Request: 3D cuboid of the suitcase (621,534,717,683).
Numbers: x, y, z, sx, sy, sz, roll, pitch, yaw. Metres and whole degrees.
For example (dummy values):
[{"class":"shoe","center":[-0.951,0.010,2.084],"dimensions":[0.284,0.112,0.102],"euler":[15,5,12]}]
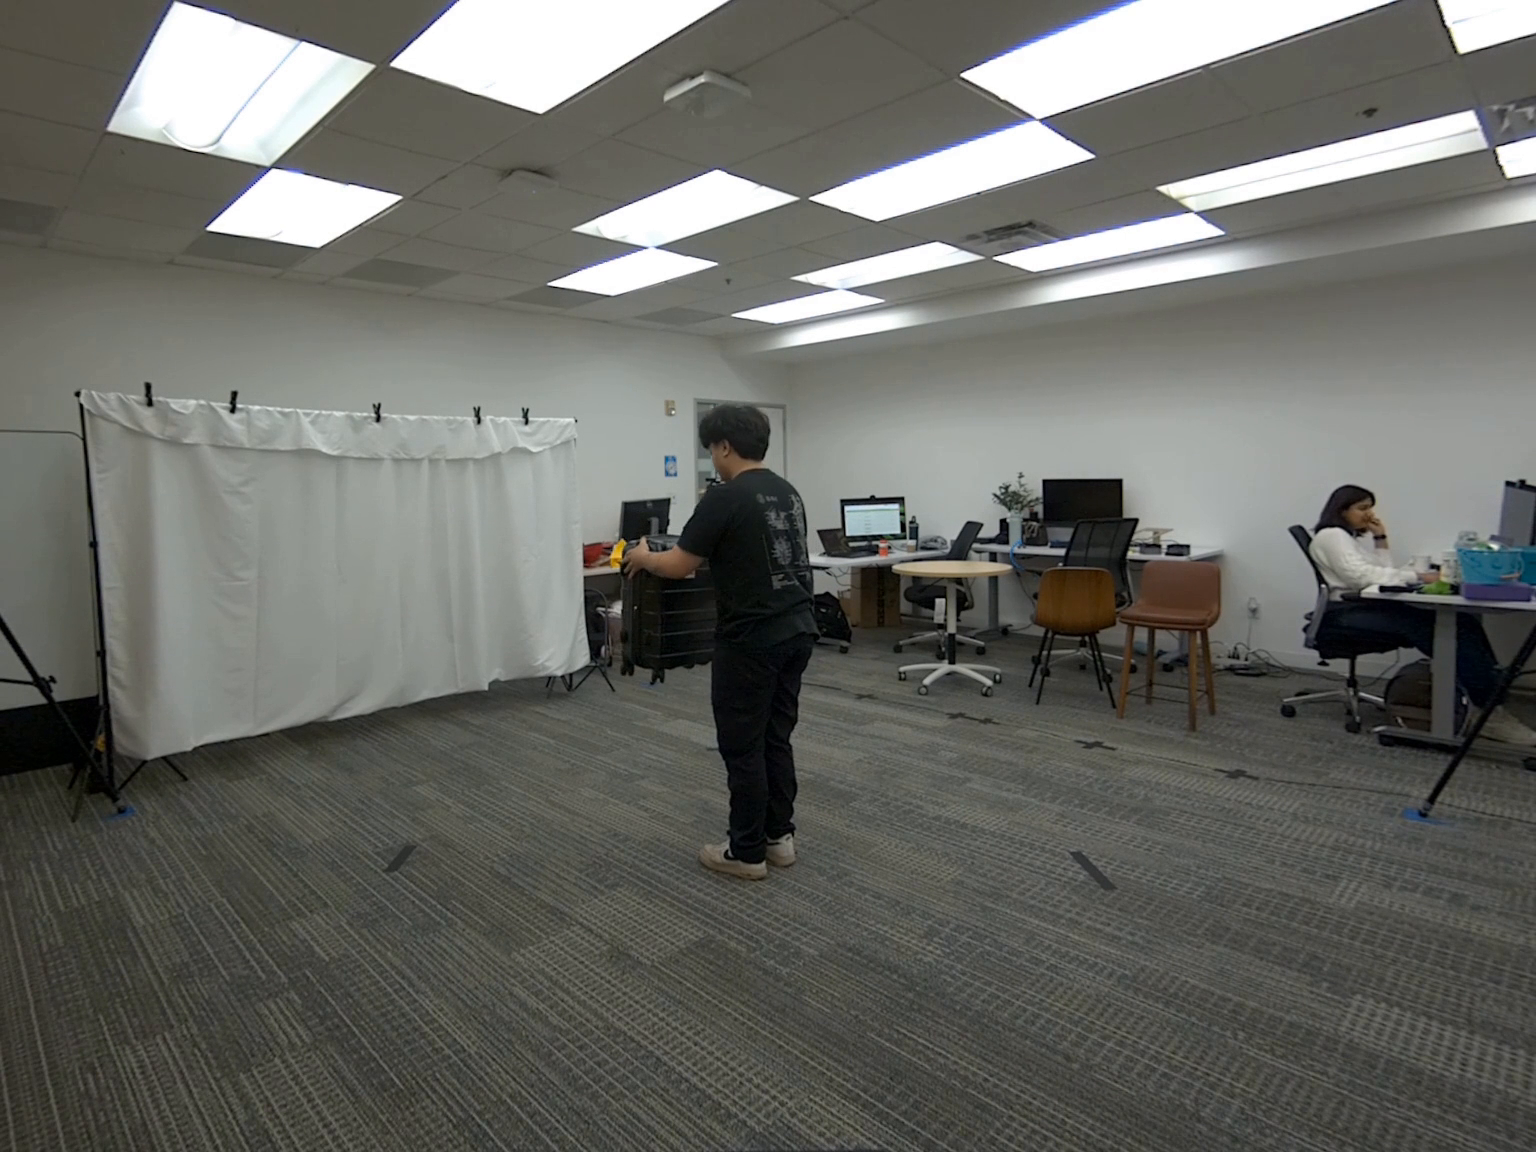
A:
[{"class":"suitcase","center":[-0.383,0.125,3.377],"dimensions":[0.365,0.549,0.256],"euler":[-1,2,-43]}]
